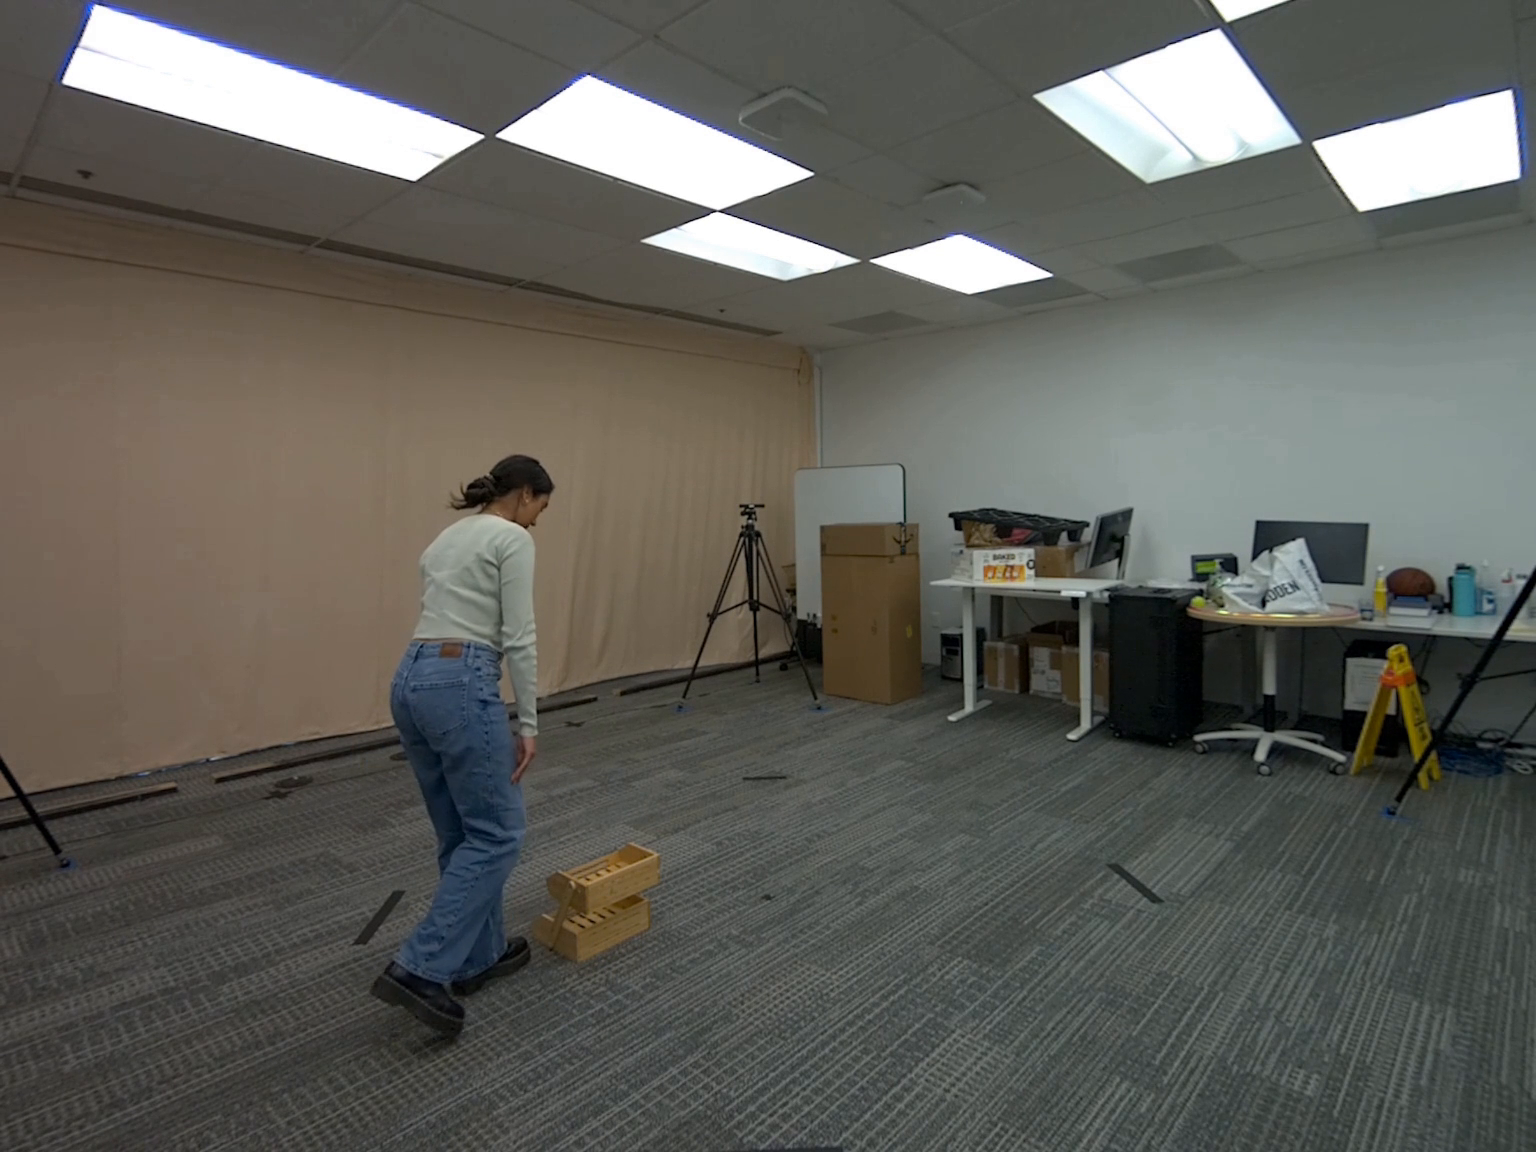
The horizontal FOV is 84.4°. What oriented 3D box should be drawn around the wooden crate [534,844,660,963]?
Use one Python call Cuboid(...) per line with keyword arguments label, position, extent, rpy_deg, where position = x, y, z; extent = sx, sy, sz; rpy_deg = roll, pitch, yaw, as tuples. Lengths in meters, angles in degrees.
Cuboid(label="wooden crate", position=(-0.564, 1.040, 2.741), extent=(0.312, 0.272, 0.315), rpy_deg=(4, 6, 42))
